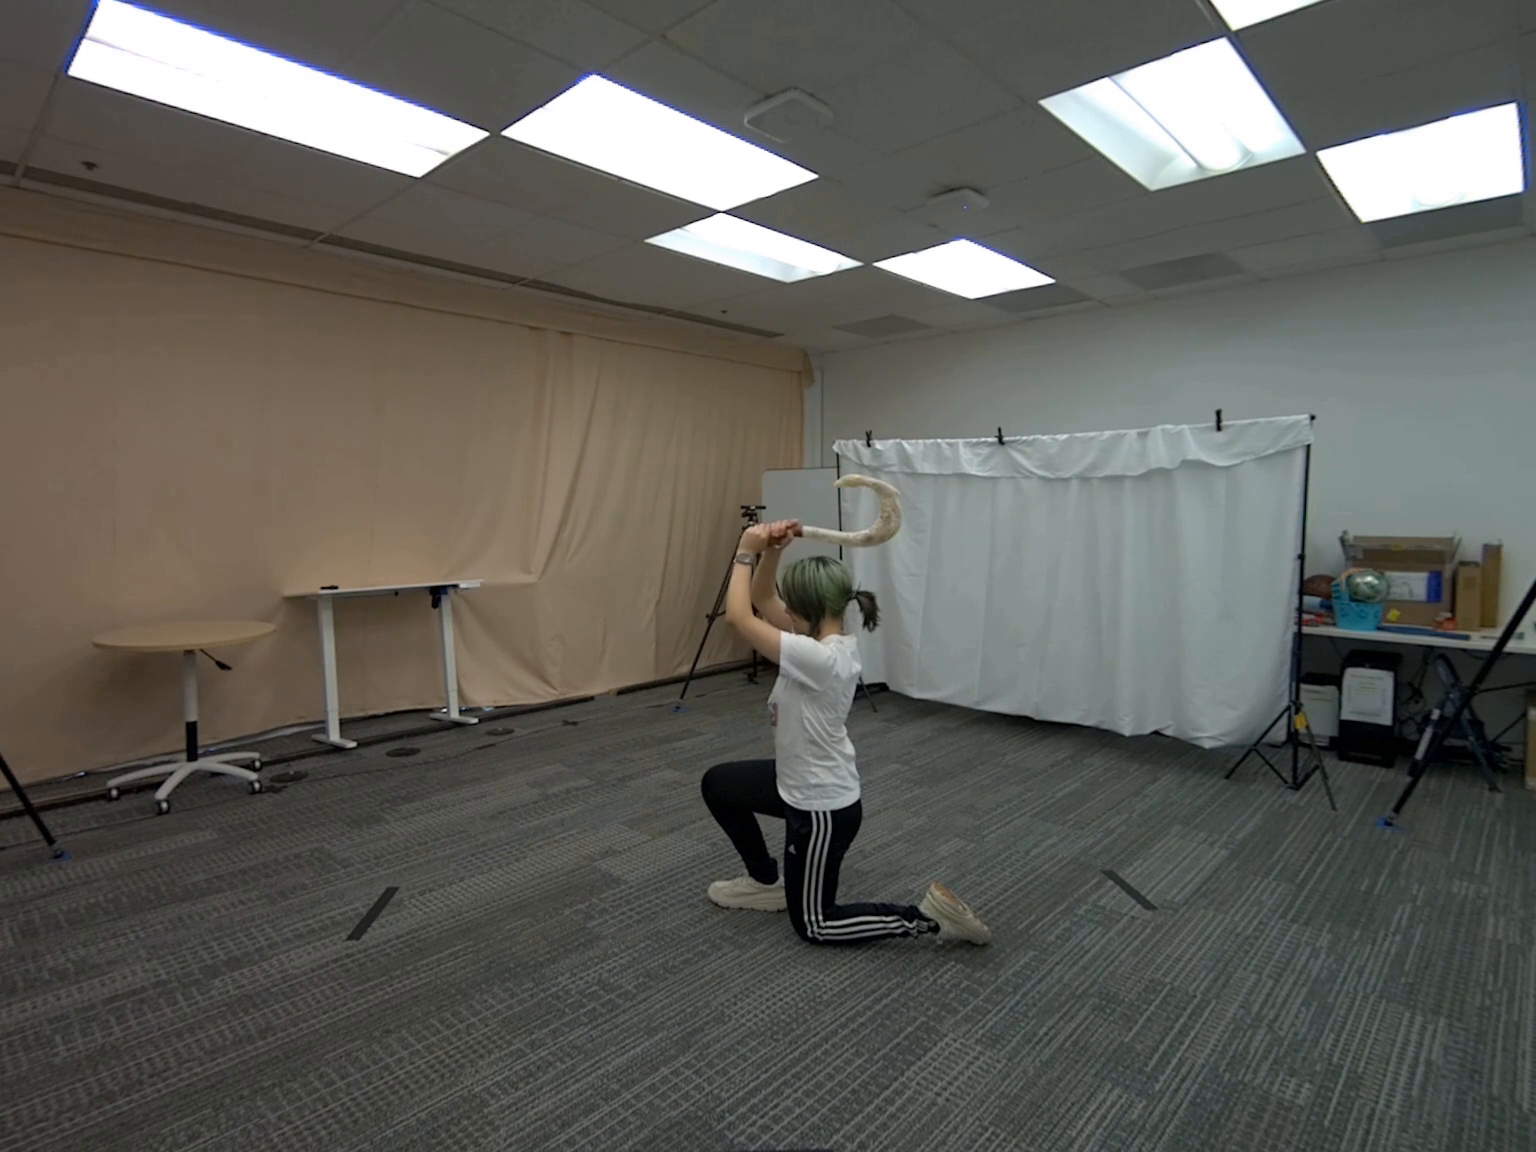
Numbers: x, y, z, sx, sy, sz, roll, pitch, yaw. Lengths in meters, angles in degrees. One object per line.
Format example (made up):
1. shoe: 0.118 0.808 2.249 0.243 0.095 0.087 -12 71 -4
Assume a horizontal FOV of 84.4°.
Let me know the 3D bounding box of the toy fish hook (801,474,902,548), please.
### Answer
1. toy fish hook: 0.160 -0.192 2.618 0.514 0.224 0.047 -3 1 14
